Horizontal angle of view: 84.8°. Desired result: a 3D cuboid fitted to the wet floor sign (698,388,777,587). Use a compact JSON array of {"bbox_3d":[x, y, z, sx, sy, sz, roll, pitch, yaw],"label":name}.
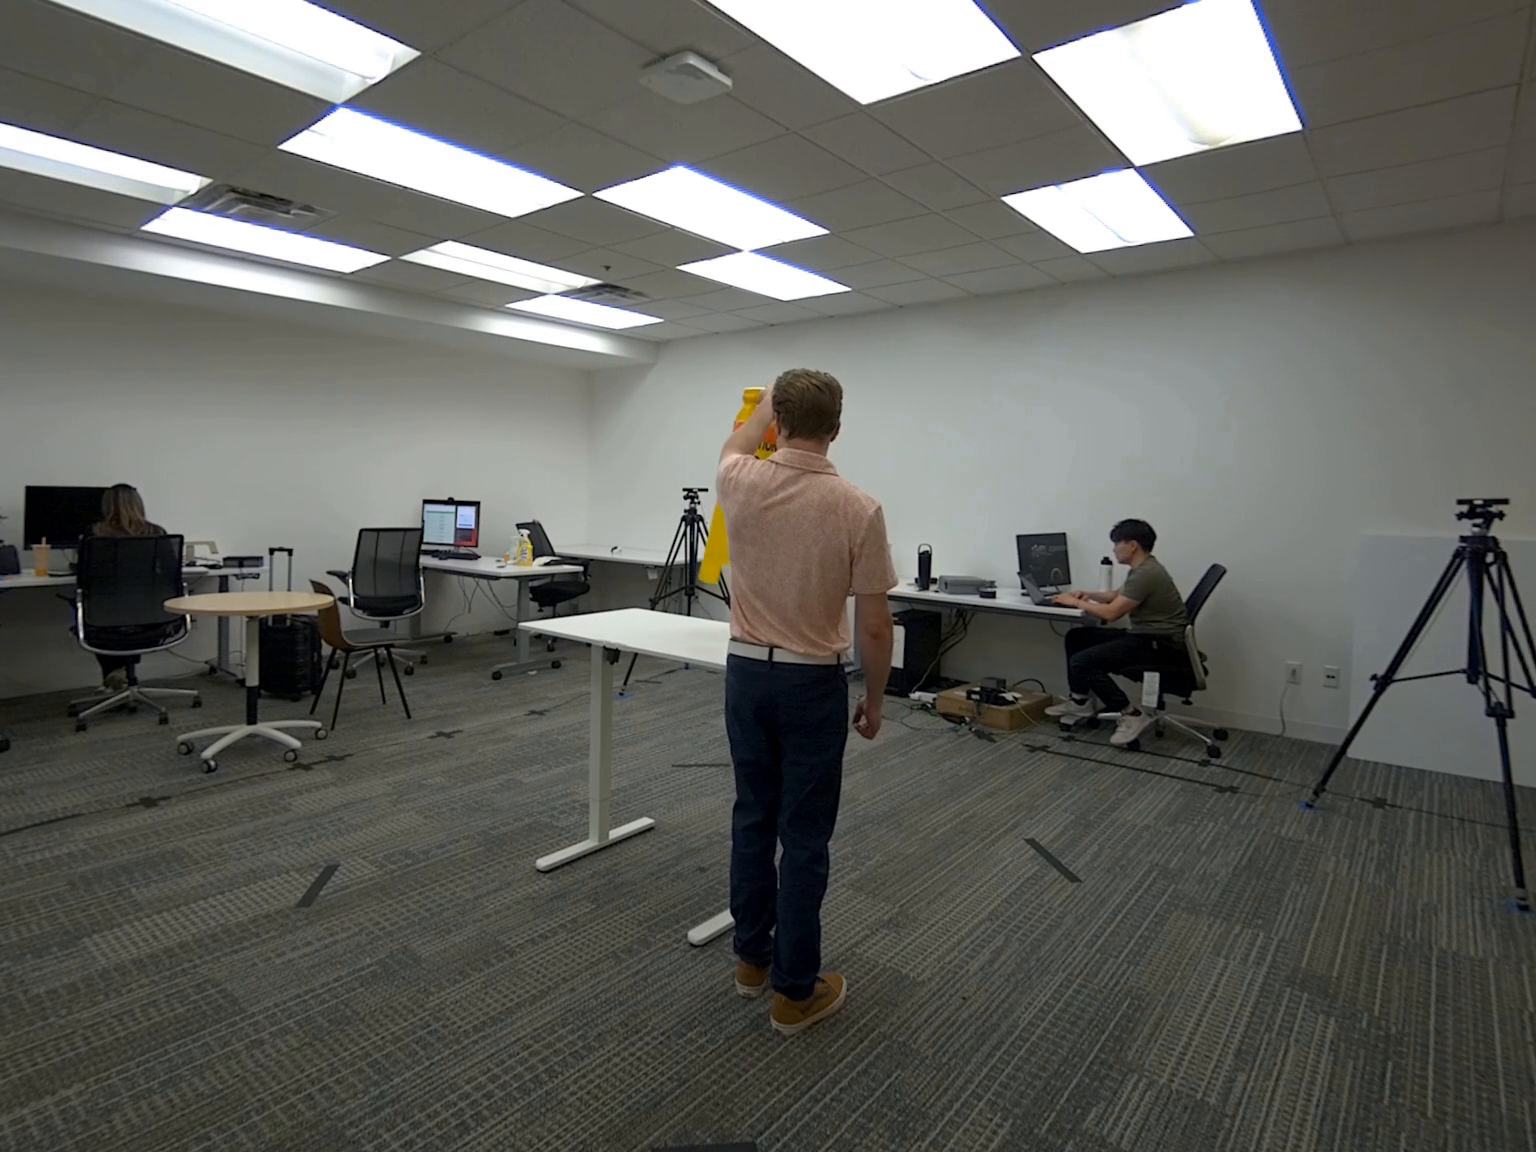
[{"bbox_3d":[-0.029,-0.289,2.812,0.292,0.640,0.282,14,14,34],"label":"wet floor sign"}]
